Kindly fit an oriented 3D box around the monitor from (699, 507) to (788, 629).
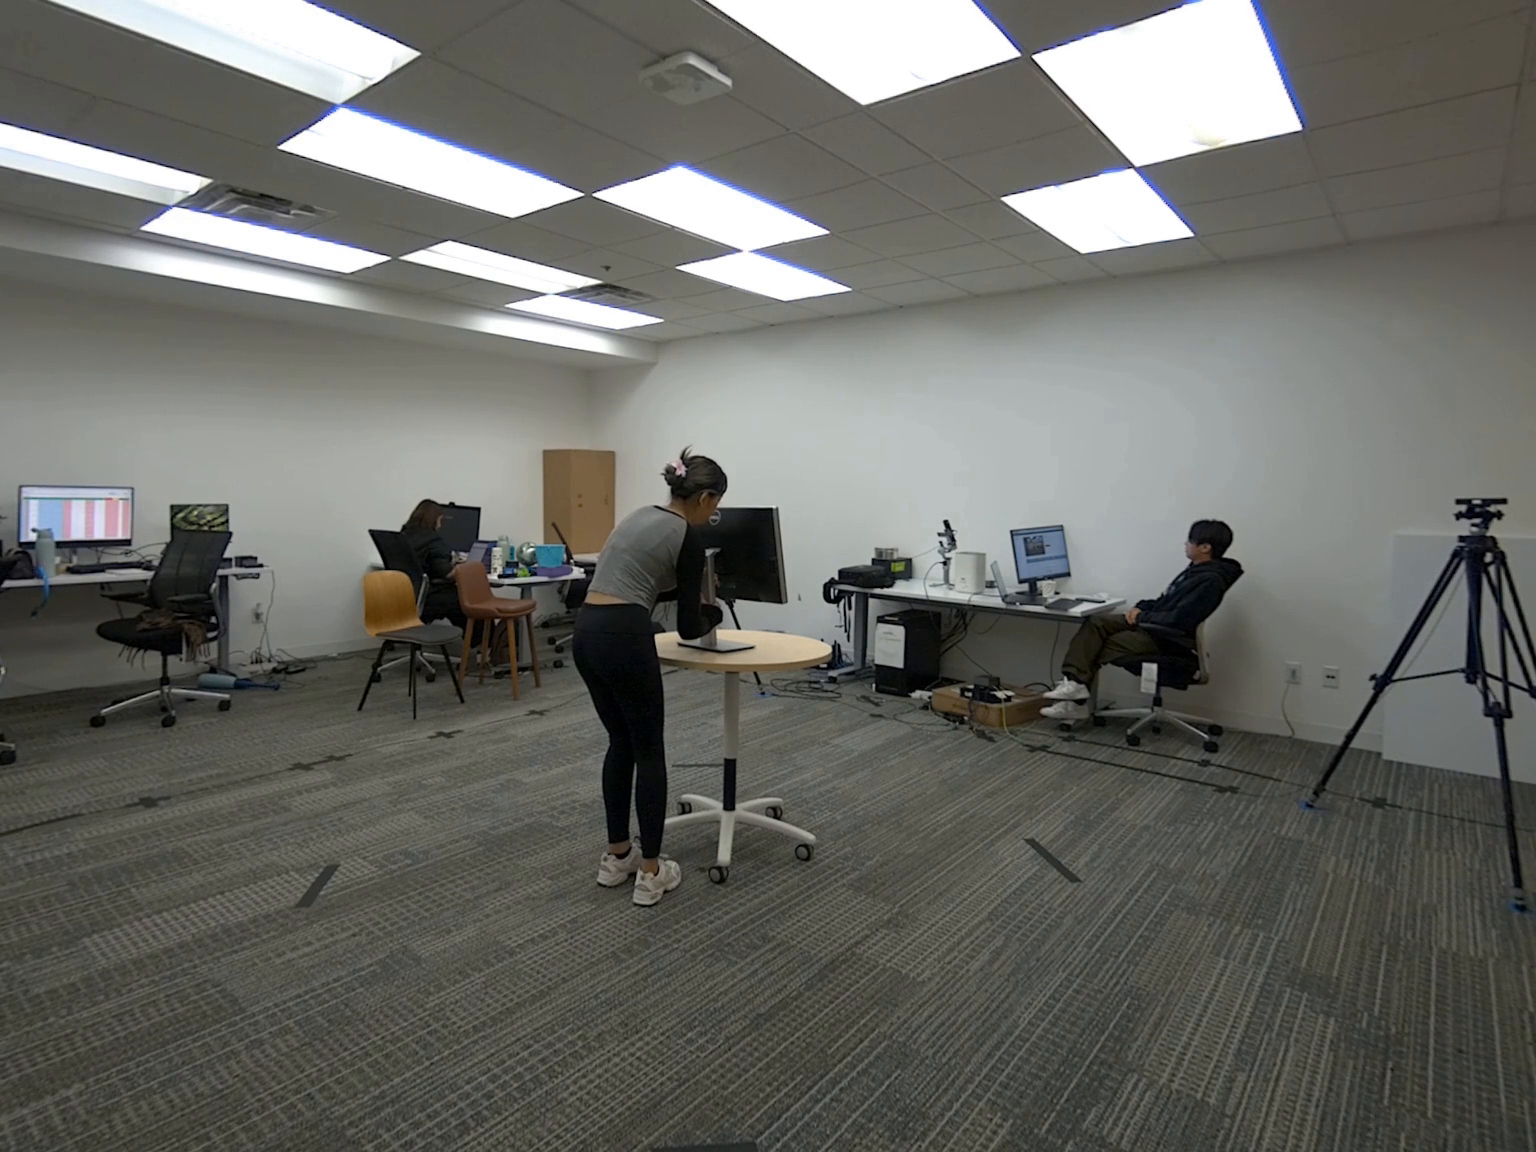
[{"bbox_3d":[-0.202,0.002,3.248,0.557,0.522,0.181,4,2,40],"label":"monitor"}]
